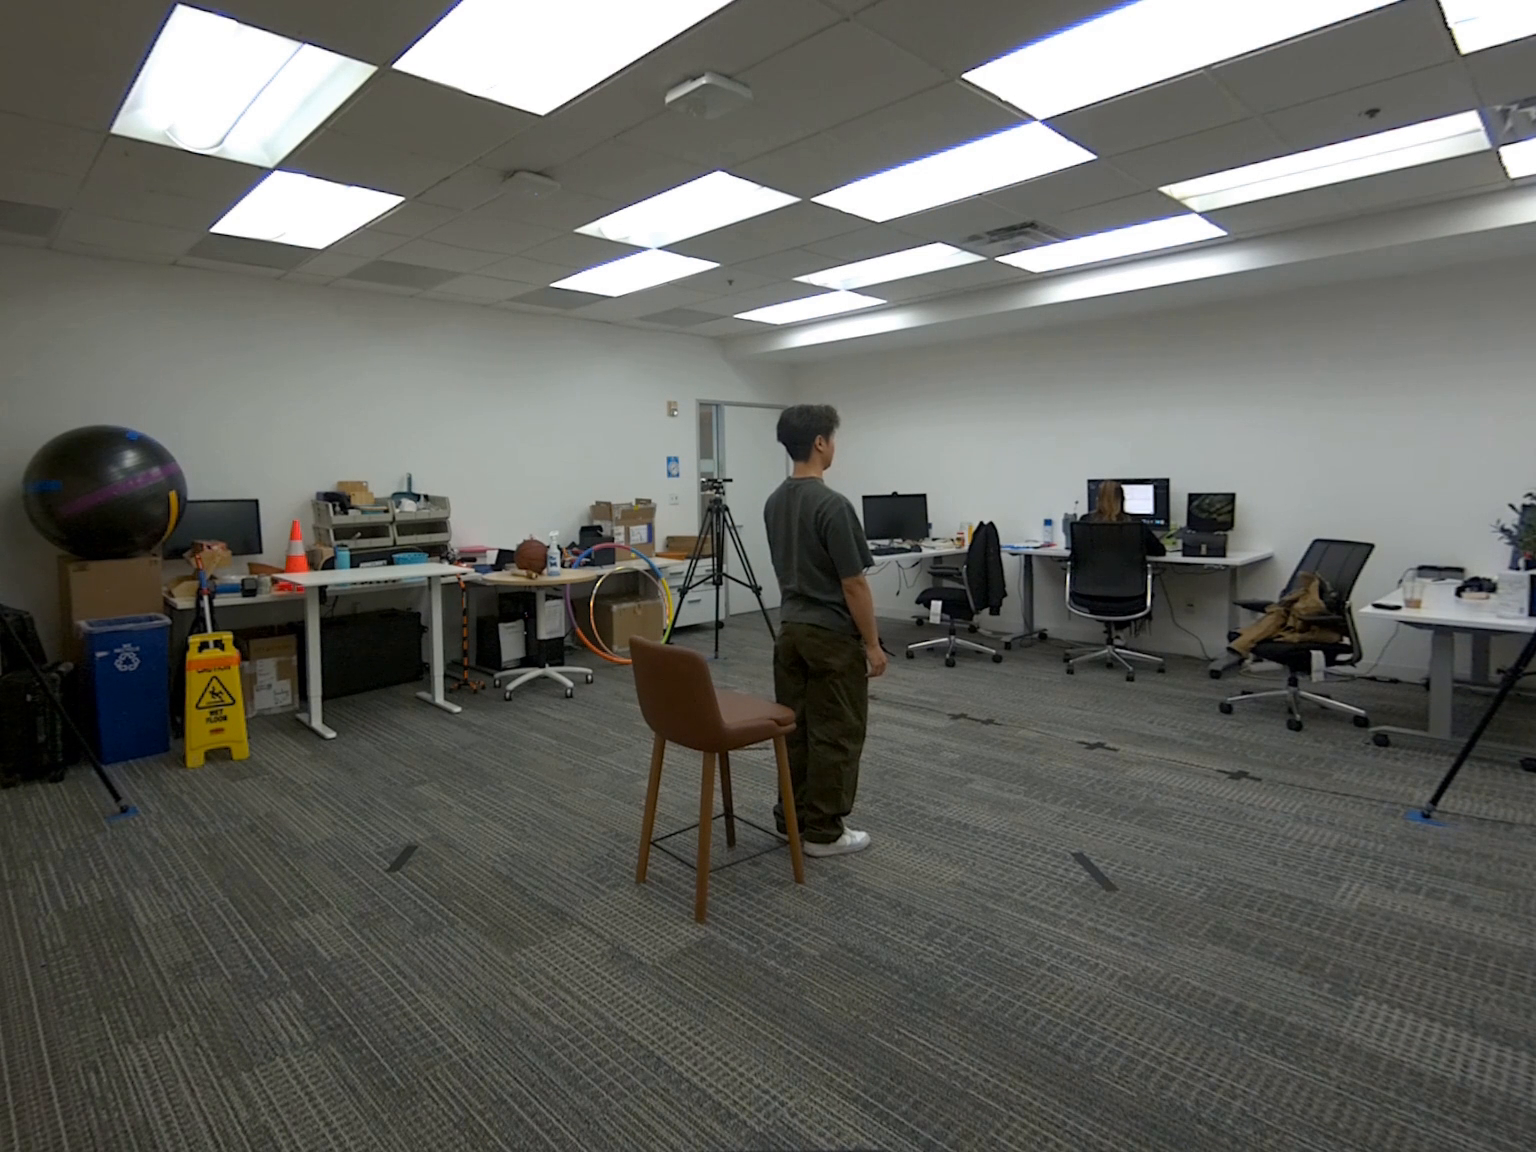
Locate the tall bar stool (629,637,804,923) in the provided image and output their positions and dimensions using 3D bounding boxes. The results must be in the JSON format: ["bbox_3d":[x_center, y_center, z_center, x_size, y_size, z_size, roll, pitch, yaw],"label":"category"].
[{"bbox_3d":[-0.182,0.629,2.940,0.456,0.885,0.470,-7,8,-40],"label":"tall bar stool"}]
